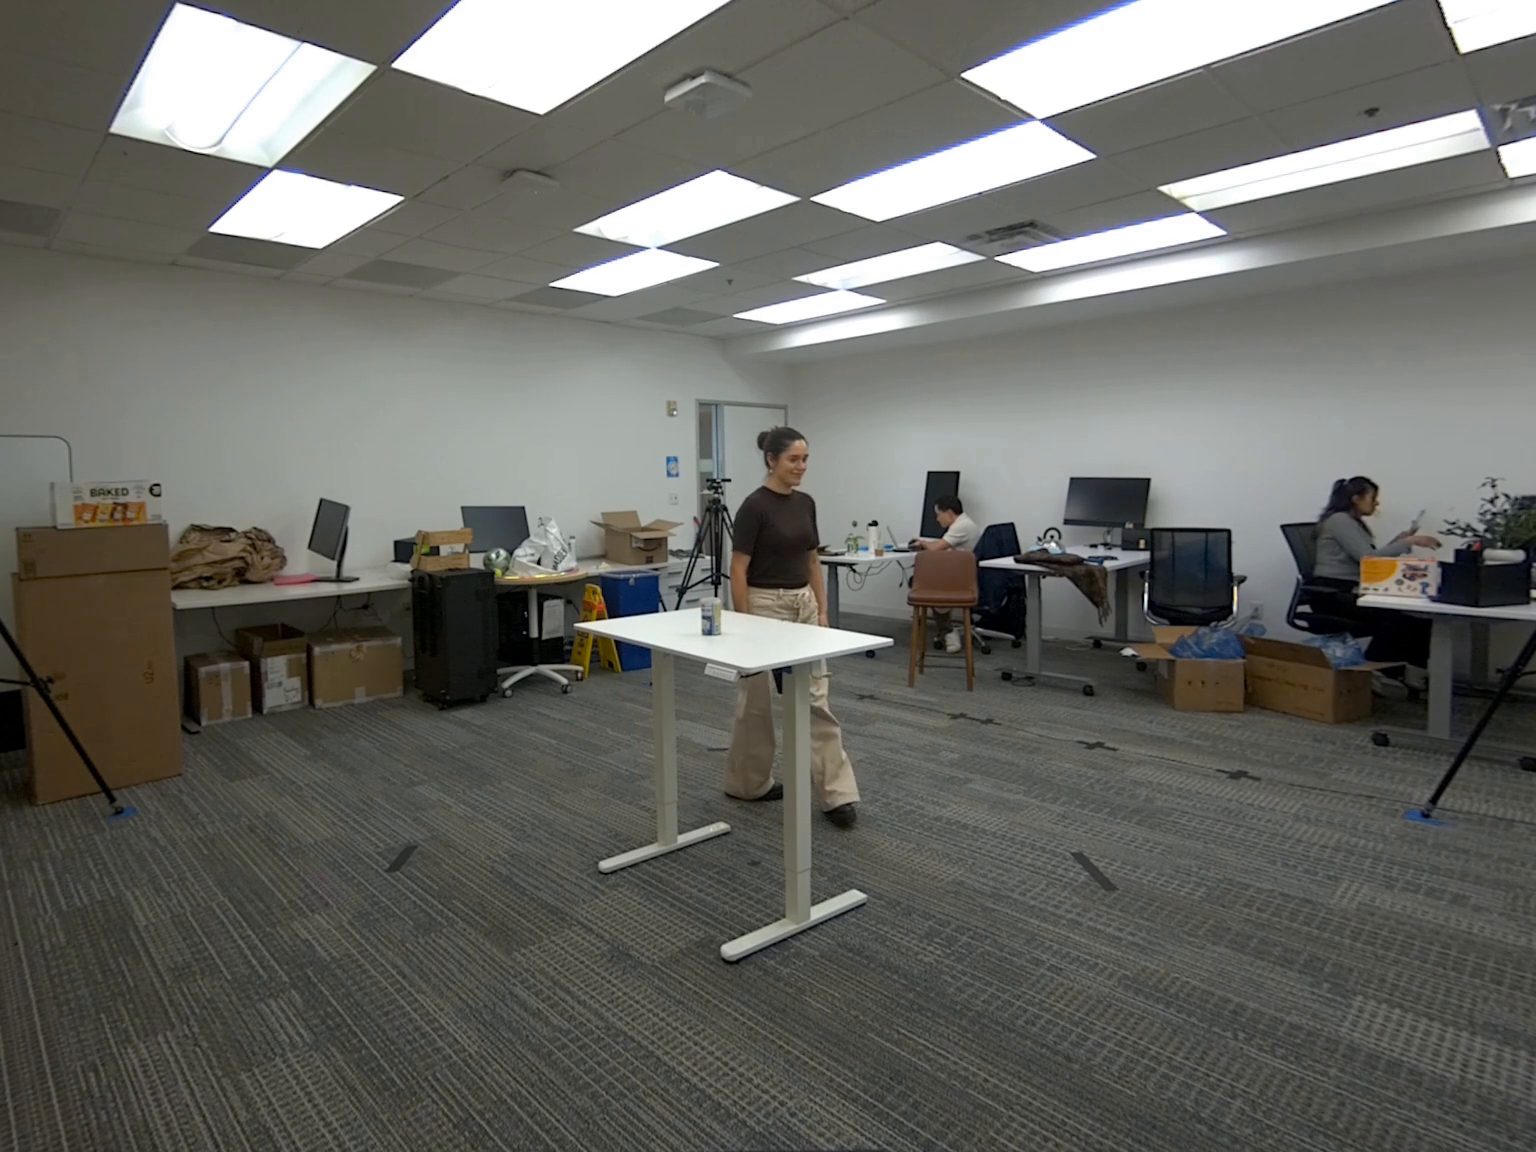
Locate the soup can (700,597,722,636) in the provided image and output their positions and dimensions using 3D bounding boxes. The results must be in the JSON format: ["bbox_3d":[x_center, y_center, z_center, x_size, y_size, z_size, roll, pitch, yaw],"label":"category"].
[{"bbox_3d":[-0.182,0.138,2.828,0.067,0.121,0.067,-2,1,-2],"label":"soup can"}]
